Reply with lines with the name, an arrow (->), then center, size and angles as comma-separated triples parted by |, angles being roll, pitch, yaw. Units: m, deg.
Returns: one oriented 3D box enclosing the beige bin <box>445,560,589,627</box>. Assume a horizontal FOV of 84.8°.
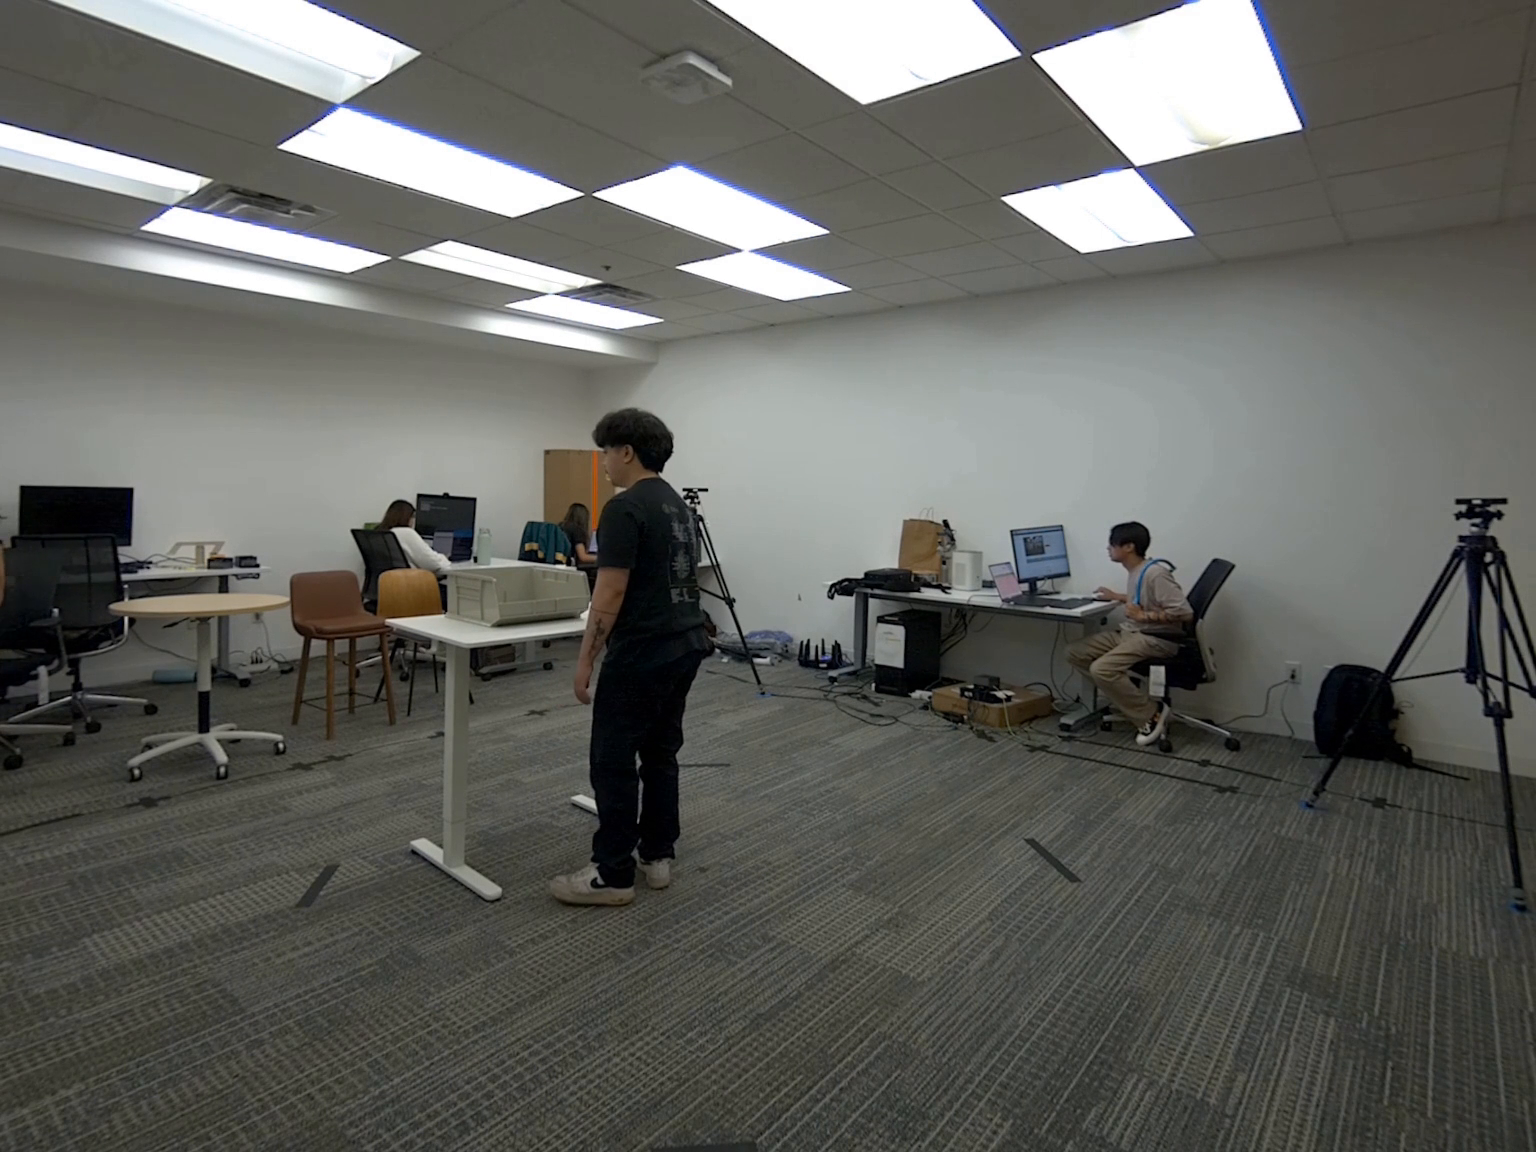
beige bin -> -0.970, 0.072, 3.259 | 0.390, 0.188, 0.410 | 5, 6, 40
